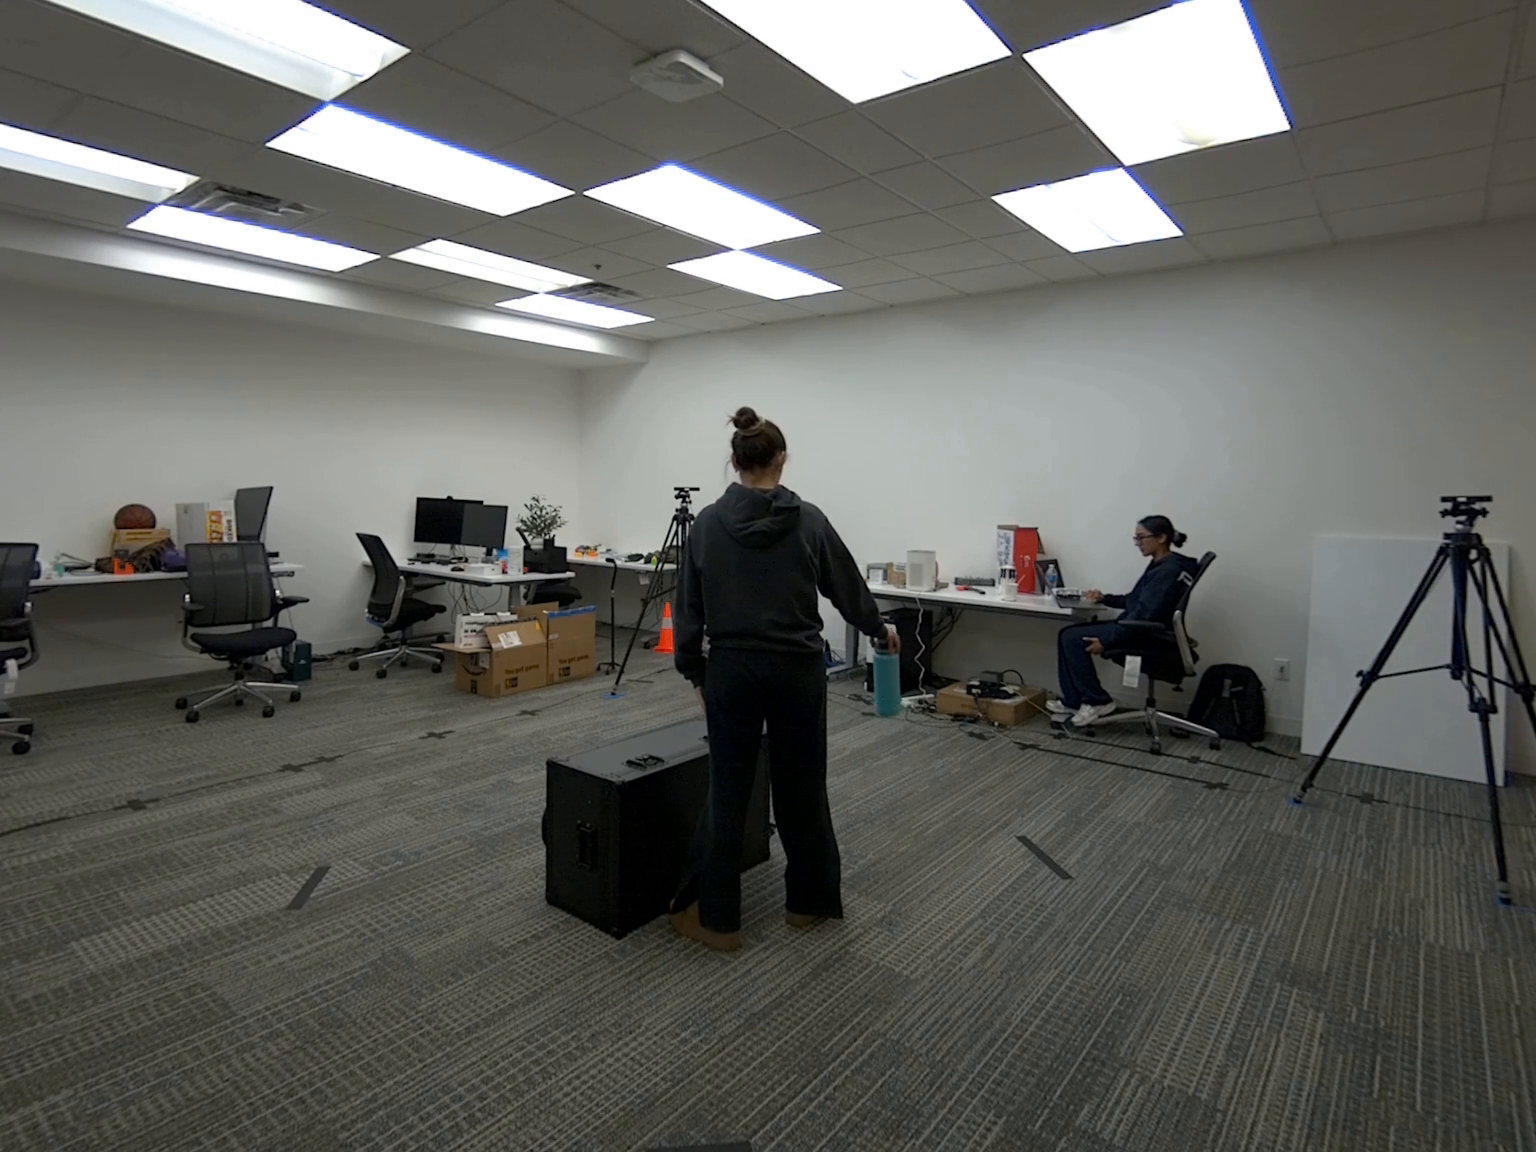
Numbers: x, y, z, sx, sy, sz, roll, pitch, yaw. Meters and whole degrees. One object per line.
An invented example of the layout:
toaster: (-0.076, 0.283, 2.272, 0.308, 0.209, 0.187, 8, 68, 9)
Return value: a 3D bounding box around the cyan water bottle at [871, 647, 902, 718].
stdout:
cyan water bottle: (0.406, 0.337, 2.980, 0.092, 0.280, 0.093, -5, 12, -1)
